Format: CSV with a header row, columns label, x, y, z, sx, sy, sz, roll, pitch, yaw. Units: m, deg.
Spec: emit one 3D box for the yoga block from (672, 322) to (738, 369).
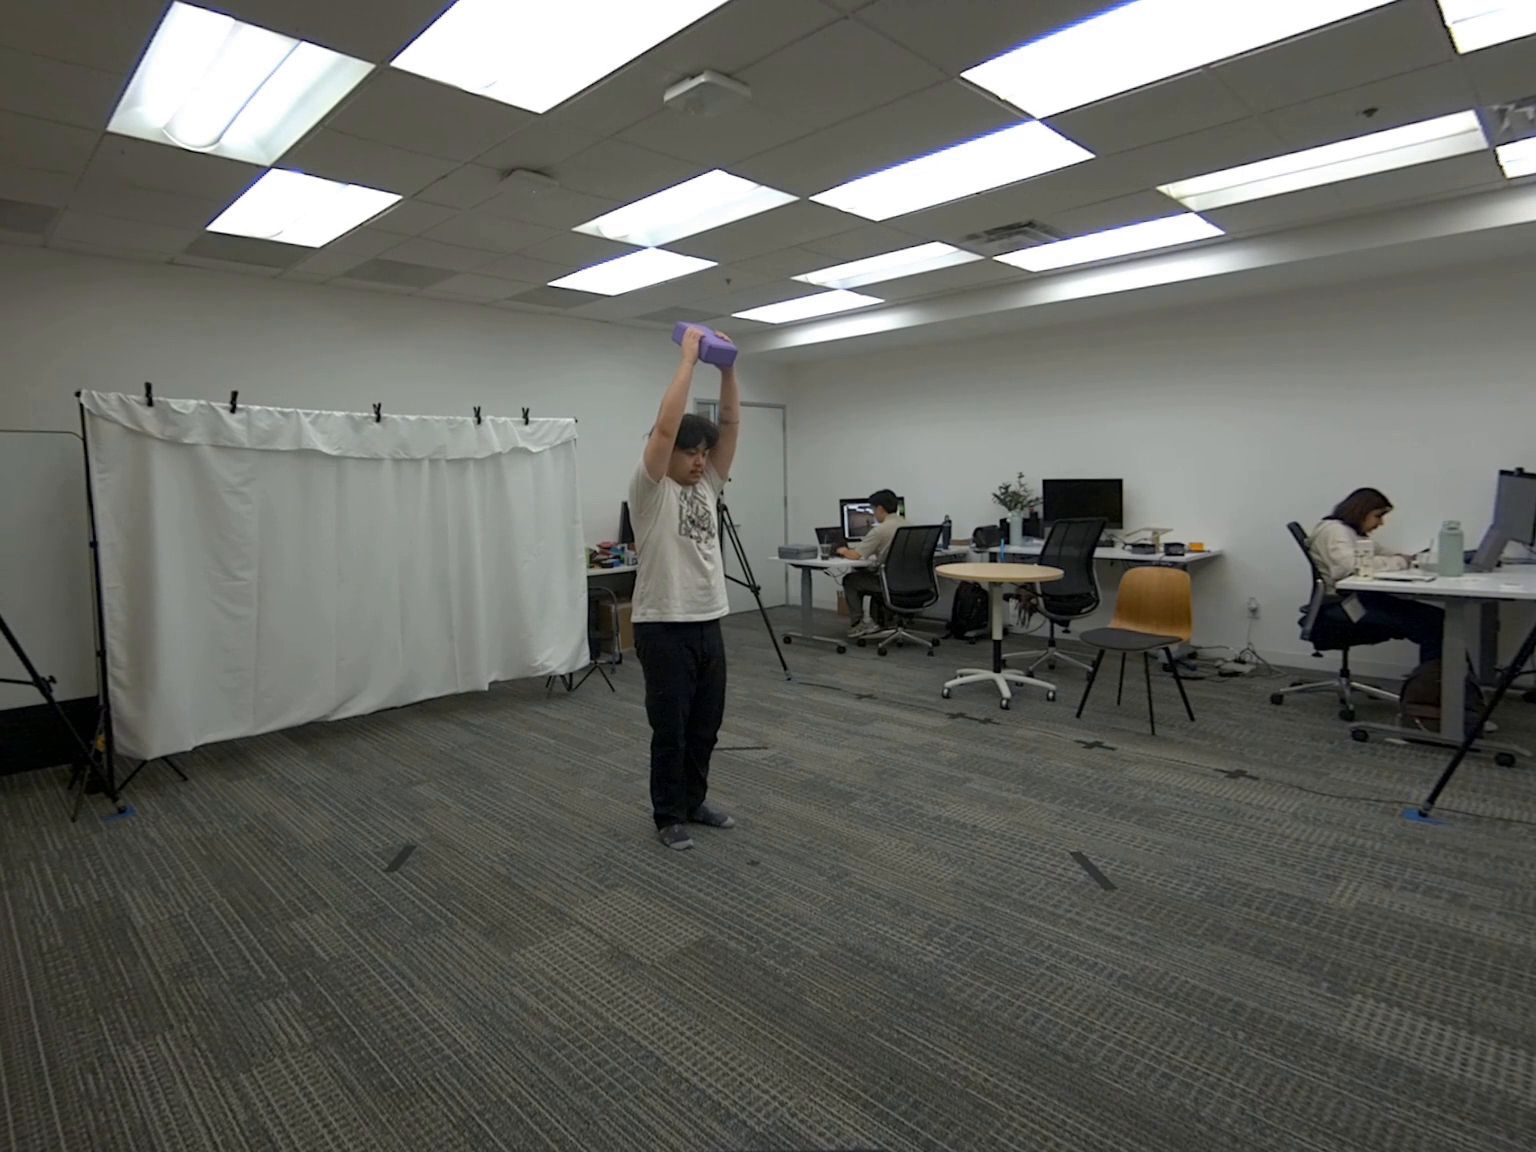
label,x,y,z,sx,sy,sz,roll,pitch,yaw
yoga block,-0.239,-0.864,3.195,0.145,0.075,0.238,-3,35,-44
